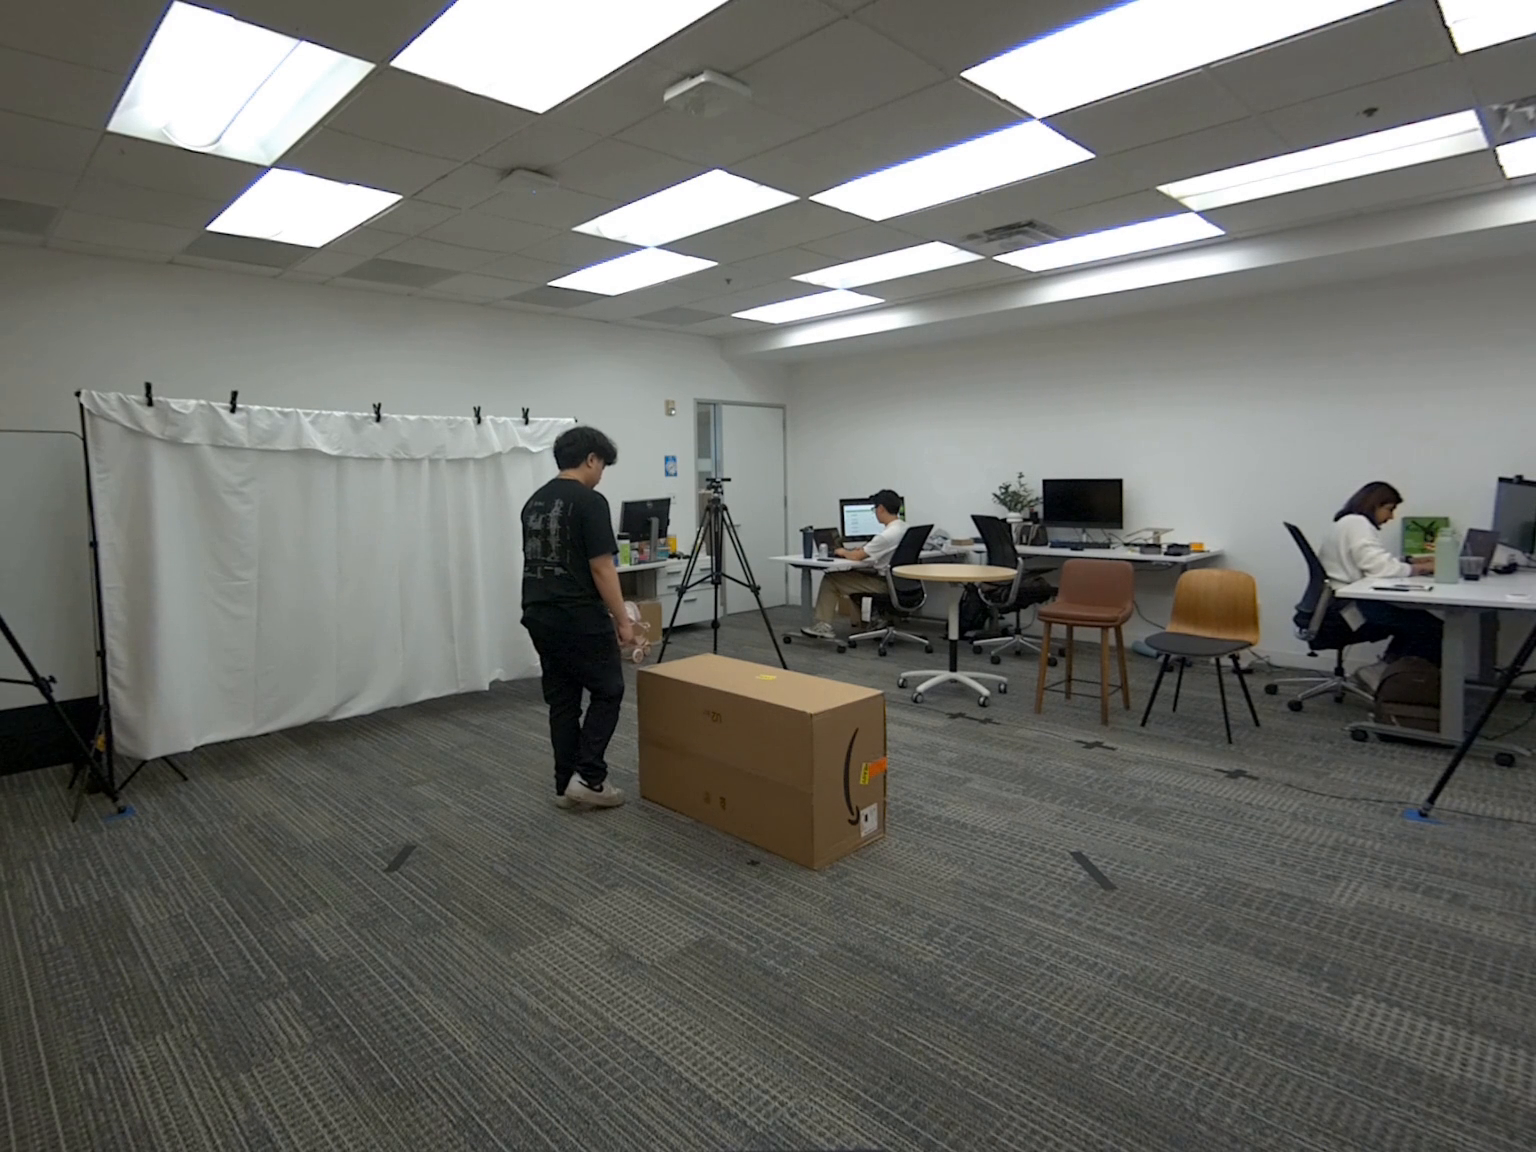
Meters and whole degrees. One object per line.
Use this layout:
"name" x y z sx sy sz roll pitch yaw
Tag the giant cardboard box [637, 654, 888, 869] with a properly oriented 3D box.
"giant cardboard box" -0.051 0.710 3.523 0.435 0.582 1.059 -4 7 -44
